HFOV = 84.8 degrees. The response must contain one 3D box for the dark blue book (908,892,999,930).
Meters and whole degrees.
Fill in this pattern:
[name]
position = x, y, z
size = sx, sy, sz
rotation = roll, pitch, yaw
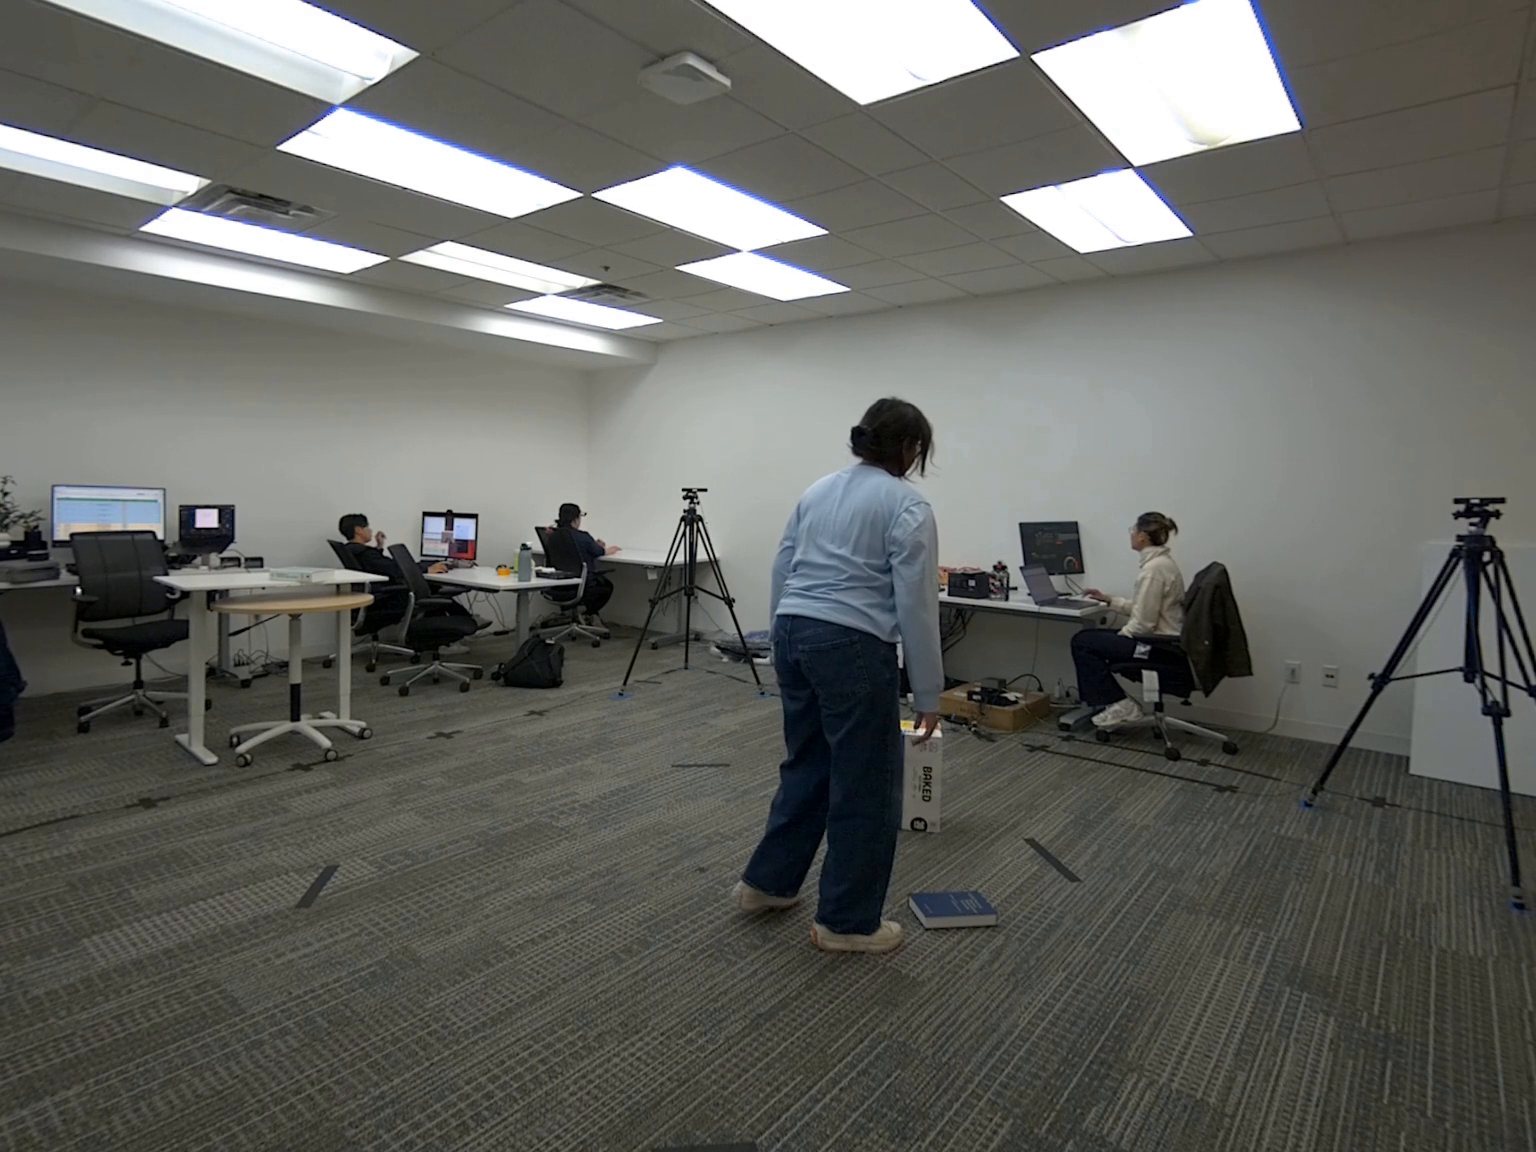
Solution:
[dark blue book]
position = 0.602, 1.101, 2.797
size = 0.243, 0.045, 0.165
rotation = 1, 6, -8
